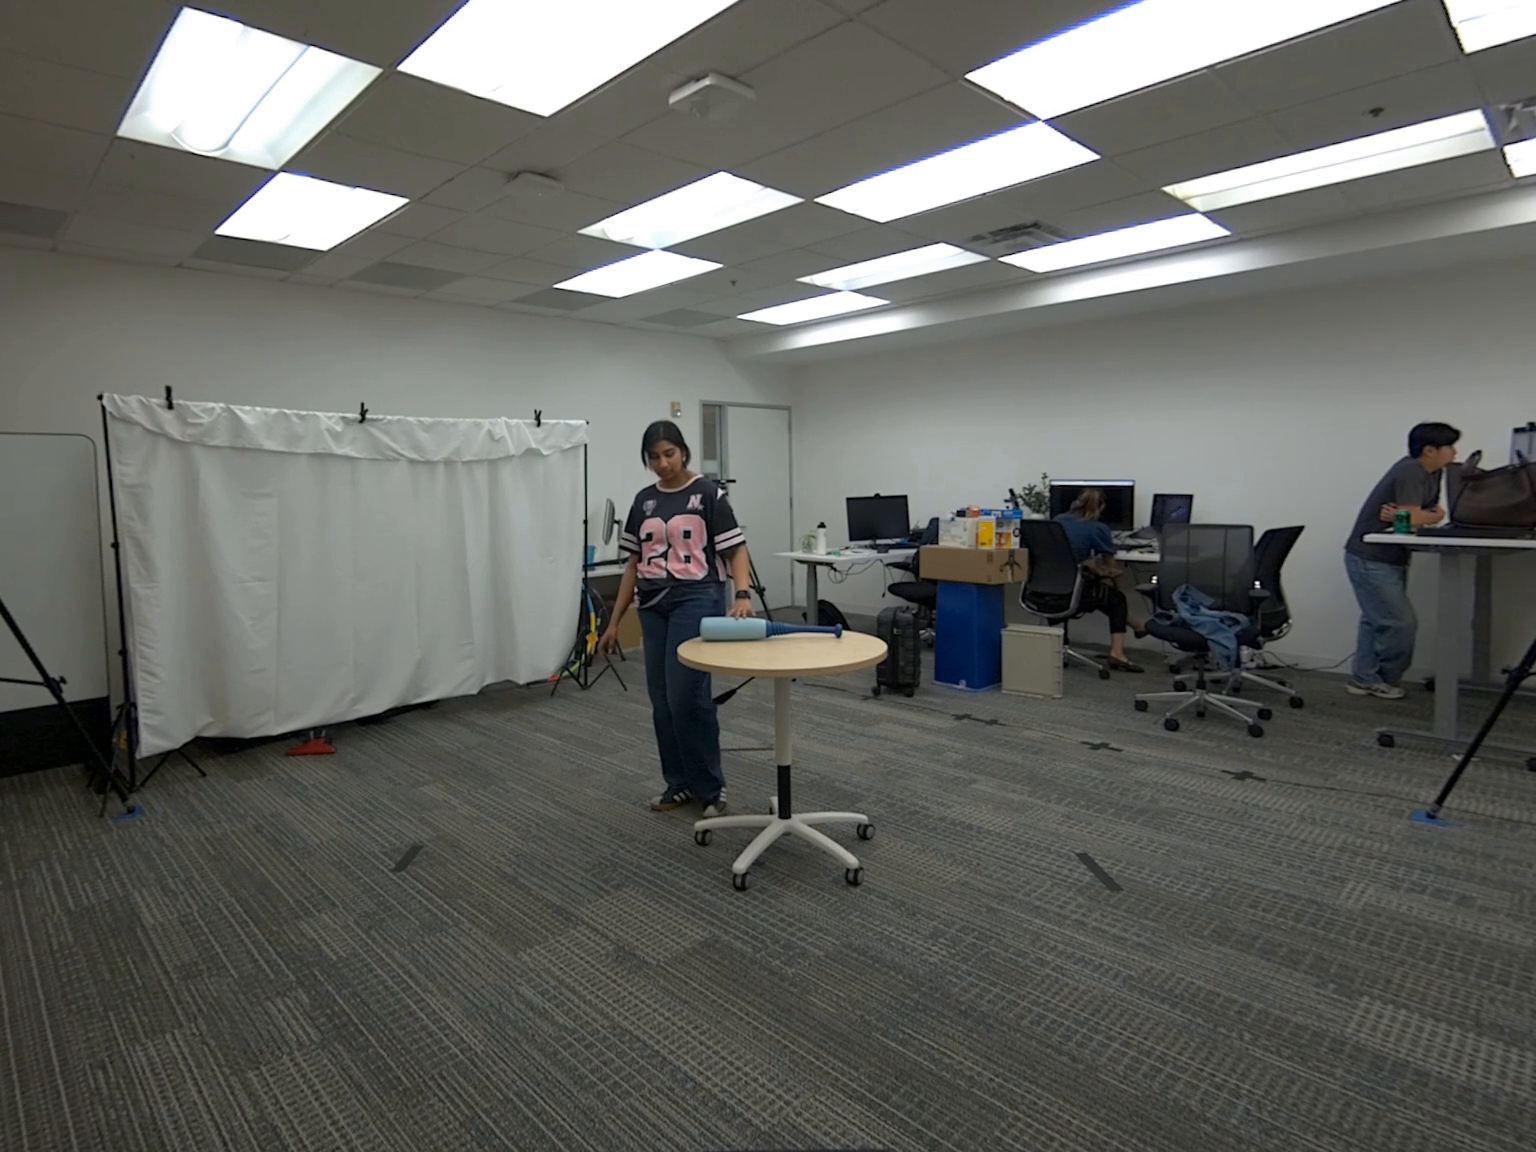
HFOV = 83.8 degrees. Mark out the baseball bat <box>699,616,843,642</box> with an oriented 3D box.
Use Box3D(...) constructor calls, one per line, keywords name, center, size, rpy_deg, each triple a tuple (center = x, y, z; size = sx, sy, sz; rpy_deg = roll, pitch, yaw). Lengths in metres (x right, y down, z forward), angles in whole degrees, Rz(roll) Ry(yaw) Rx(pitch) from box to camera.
Box3D(name="baseball bat", center=(0.015, 0.209, 3.272), size=(0.543, 0.089, 0.089), rpy_deg=(2, 5, 0))
